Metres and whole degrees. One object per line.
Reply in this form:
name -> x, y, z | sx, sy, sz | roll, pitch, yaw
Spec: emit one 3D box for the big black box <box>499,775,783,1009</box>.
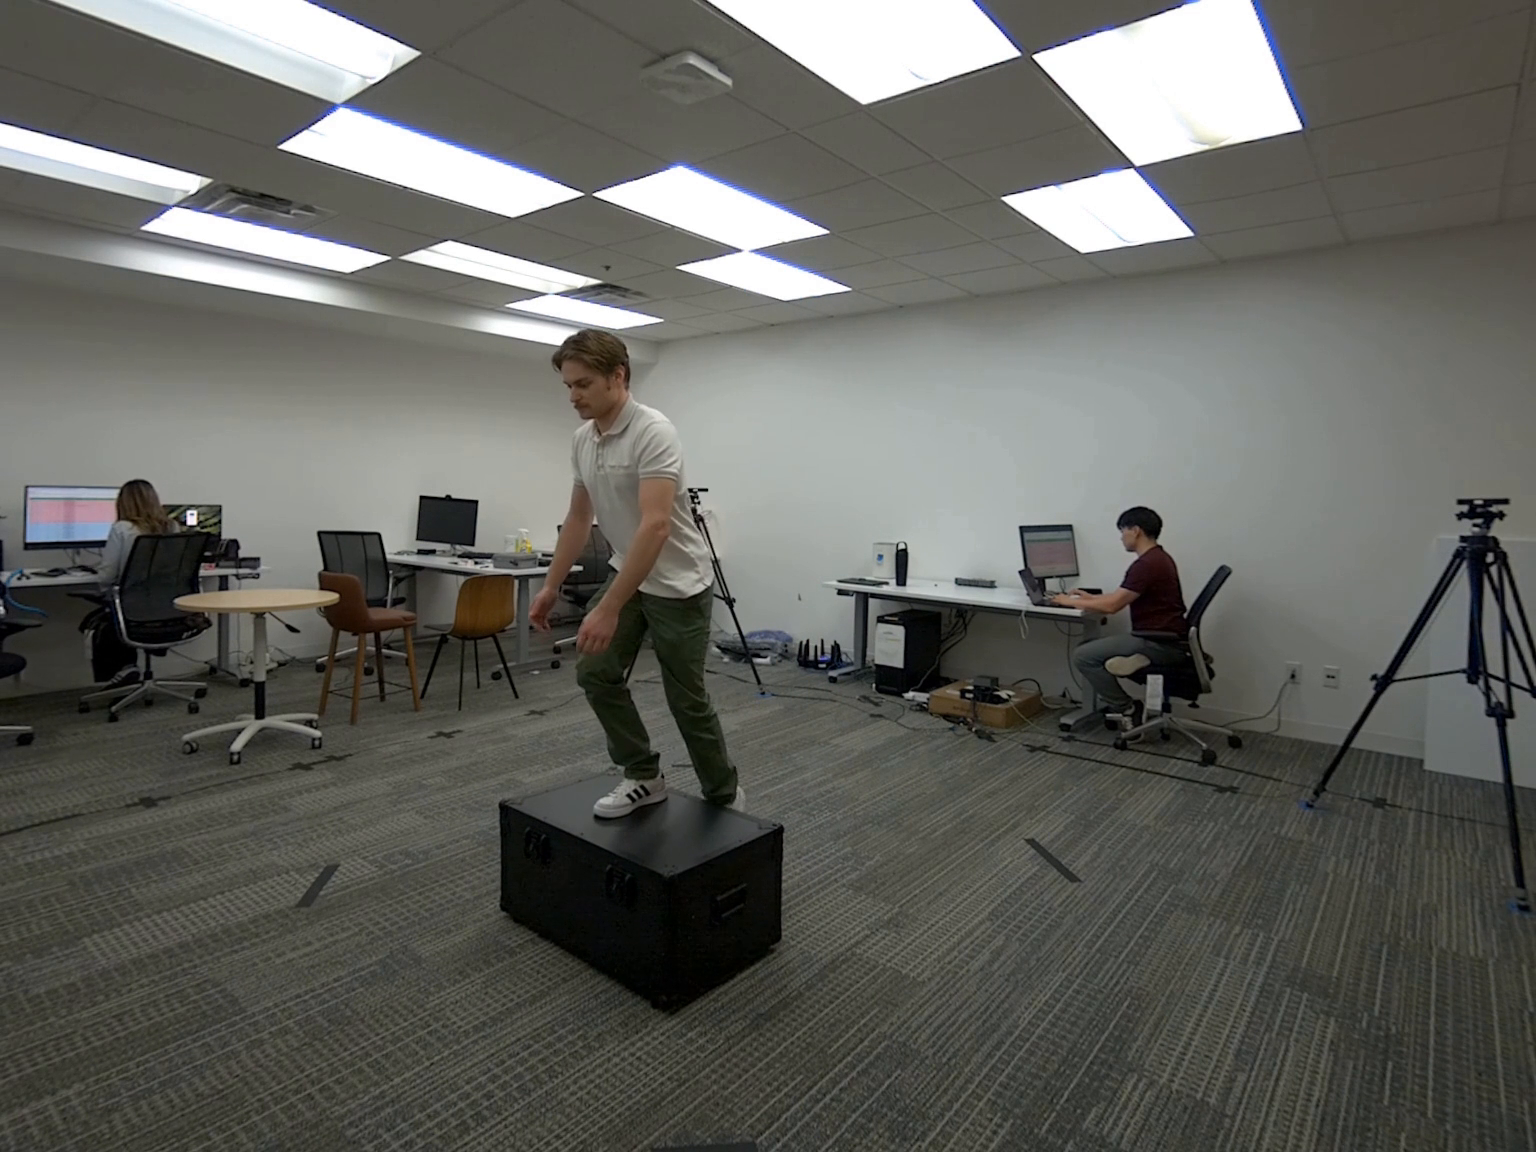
big black box -> -0.441, 0.920, 2.673 | 0.891, 0.395, 0.506 | 6, 7, 40
